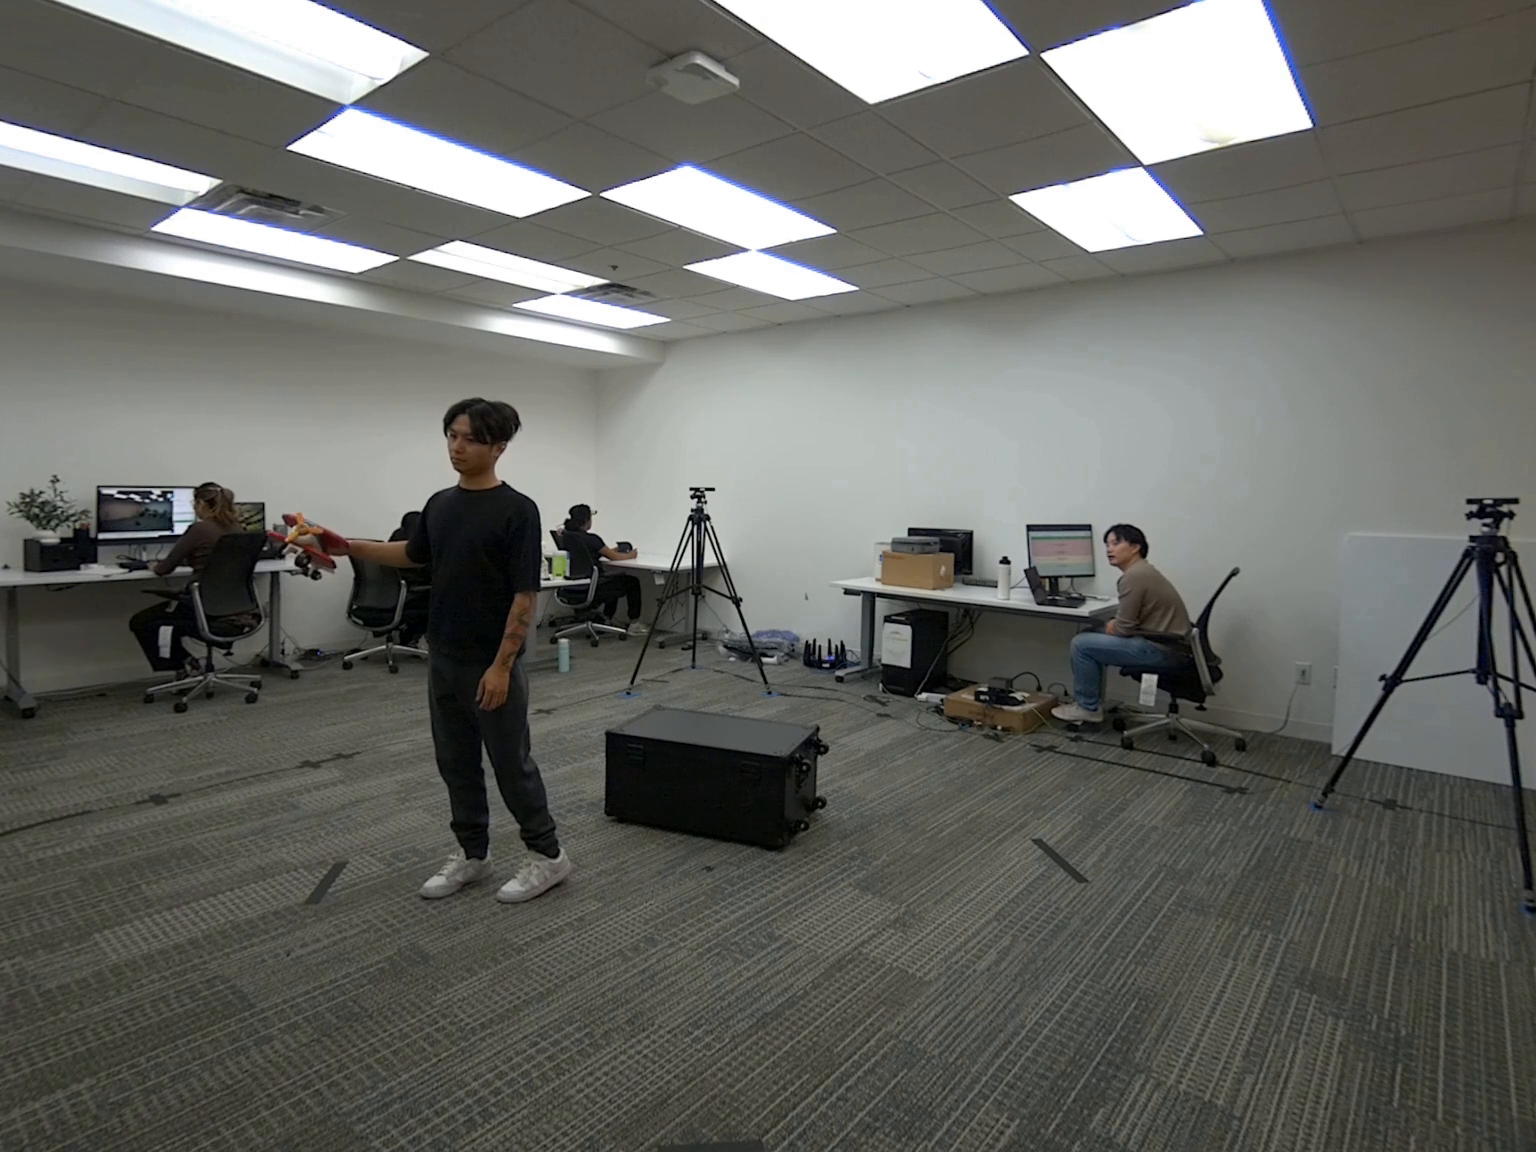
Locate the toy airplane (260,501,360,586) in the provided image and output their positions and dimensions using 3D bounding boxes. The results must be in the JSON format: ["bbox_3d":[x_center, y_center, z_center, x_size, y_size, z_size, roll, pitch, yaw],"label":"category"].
[{"bbox_3d":[-1.574,-0.107,2.883,0.244,0.158,0.265,33,-21,-23],"label":"toy airplane"}]
